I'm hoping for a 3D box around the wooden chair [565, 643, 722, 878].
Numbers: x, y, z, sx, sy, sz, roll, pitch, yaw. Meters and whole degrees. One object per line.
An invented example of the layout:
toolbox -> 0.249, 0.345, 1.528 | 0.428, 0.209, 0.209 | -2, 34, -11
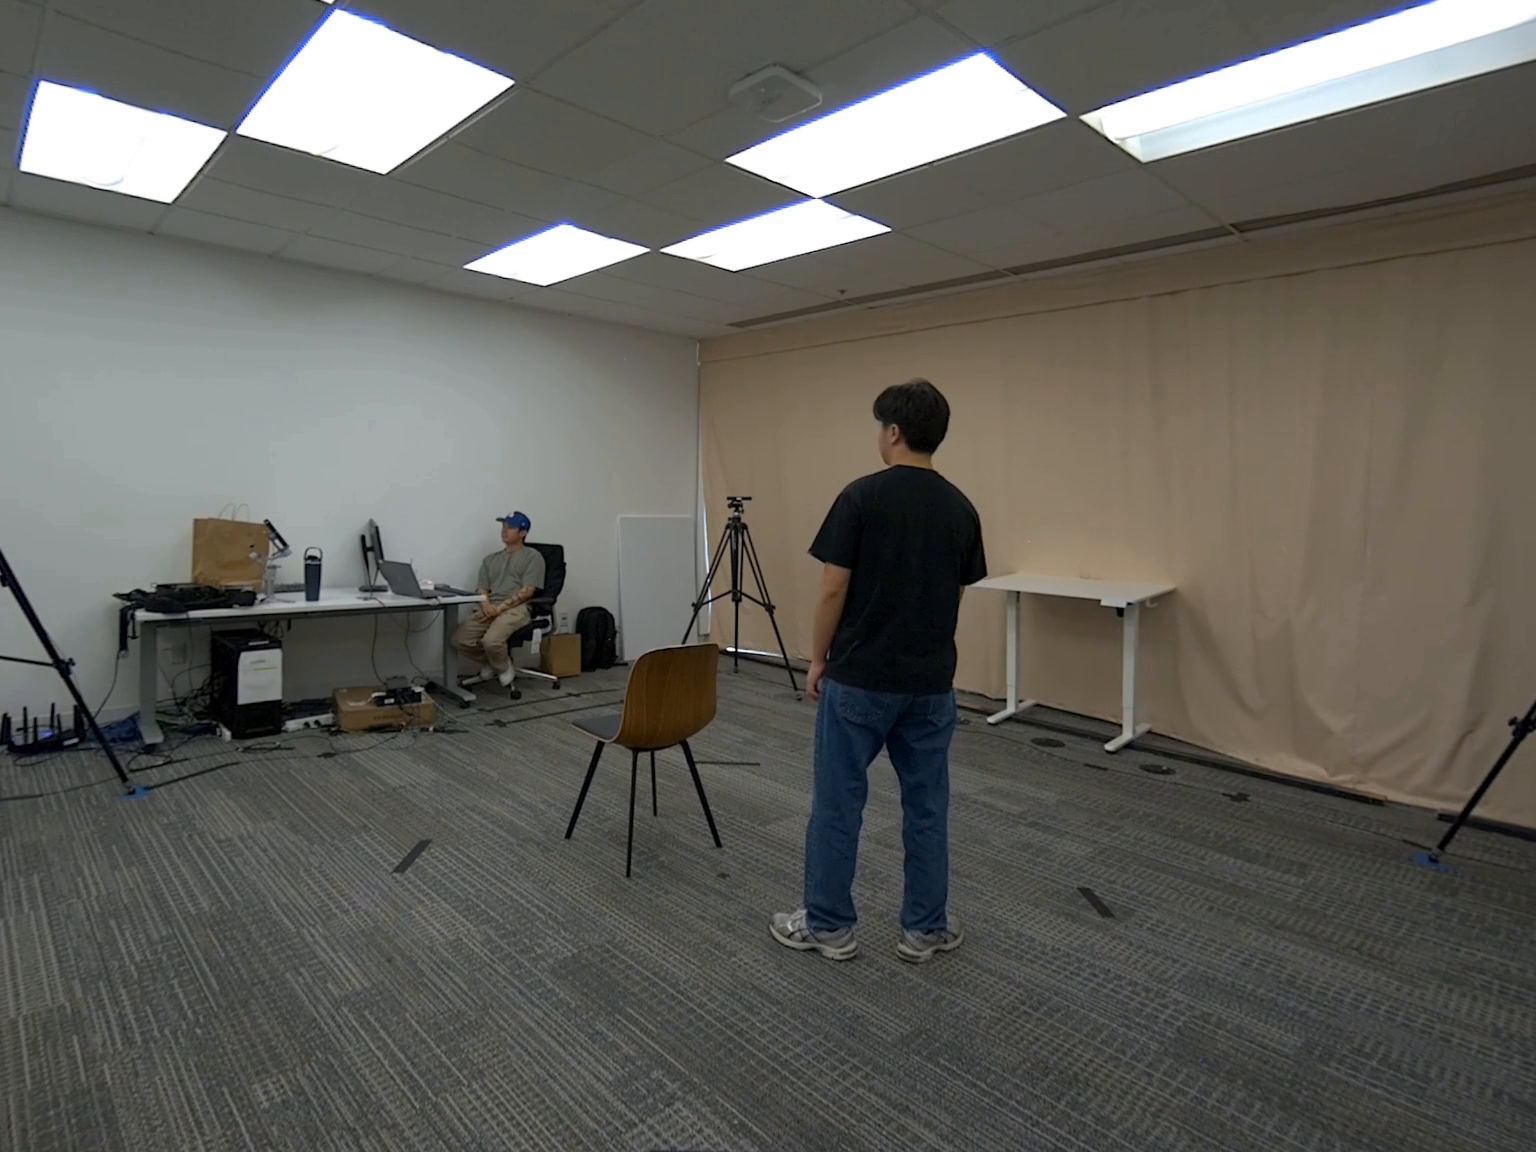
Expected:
wooden chair -> -0.498, 0.649, 3.355 | 0.467, 0.873, 0.537 | -2, 9, -42
